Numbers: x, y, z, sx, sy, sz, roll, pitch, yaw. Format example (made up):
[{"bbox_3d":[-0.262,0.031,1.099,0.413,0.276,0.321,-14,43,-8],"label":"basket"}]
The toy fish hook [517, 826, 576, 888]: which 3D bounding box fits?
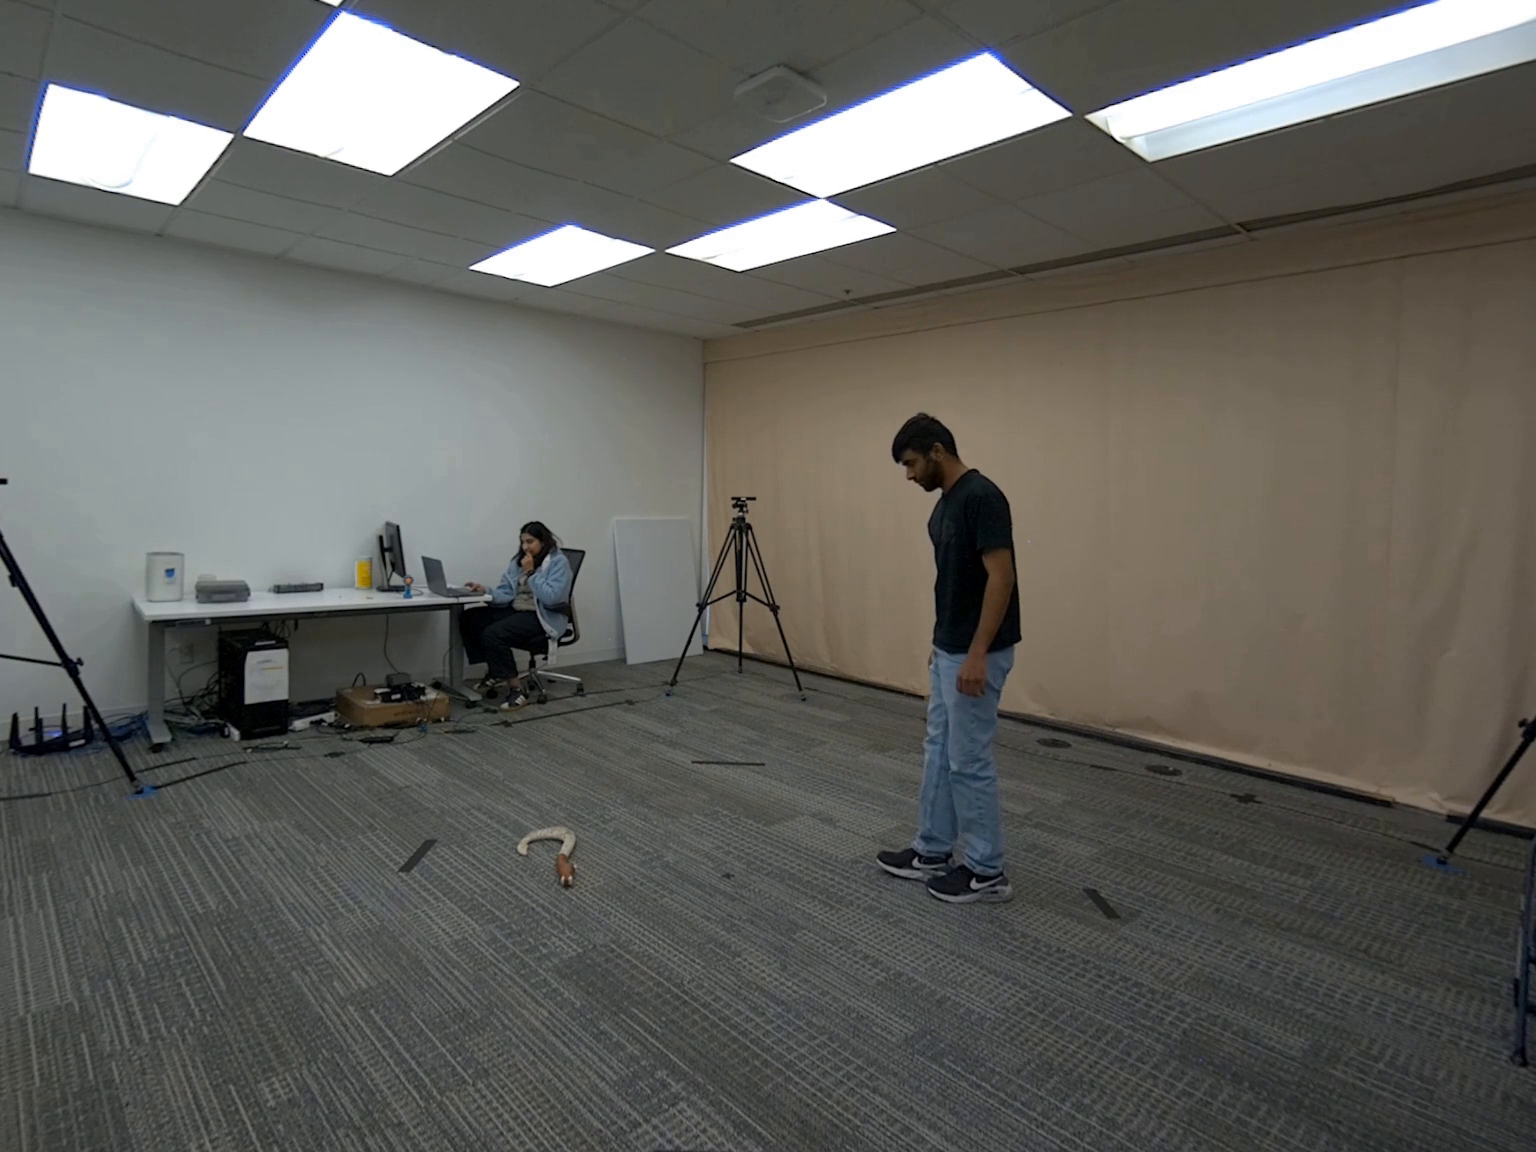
[{"bbox_3d":[-0.831,1.057,3.194,0.222,0.048,0.514,-9,7,-17],"label":"toy fish hook"}]
